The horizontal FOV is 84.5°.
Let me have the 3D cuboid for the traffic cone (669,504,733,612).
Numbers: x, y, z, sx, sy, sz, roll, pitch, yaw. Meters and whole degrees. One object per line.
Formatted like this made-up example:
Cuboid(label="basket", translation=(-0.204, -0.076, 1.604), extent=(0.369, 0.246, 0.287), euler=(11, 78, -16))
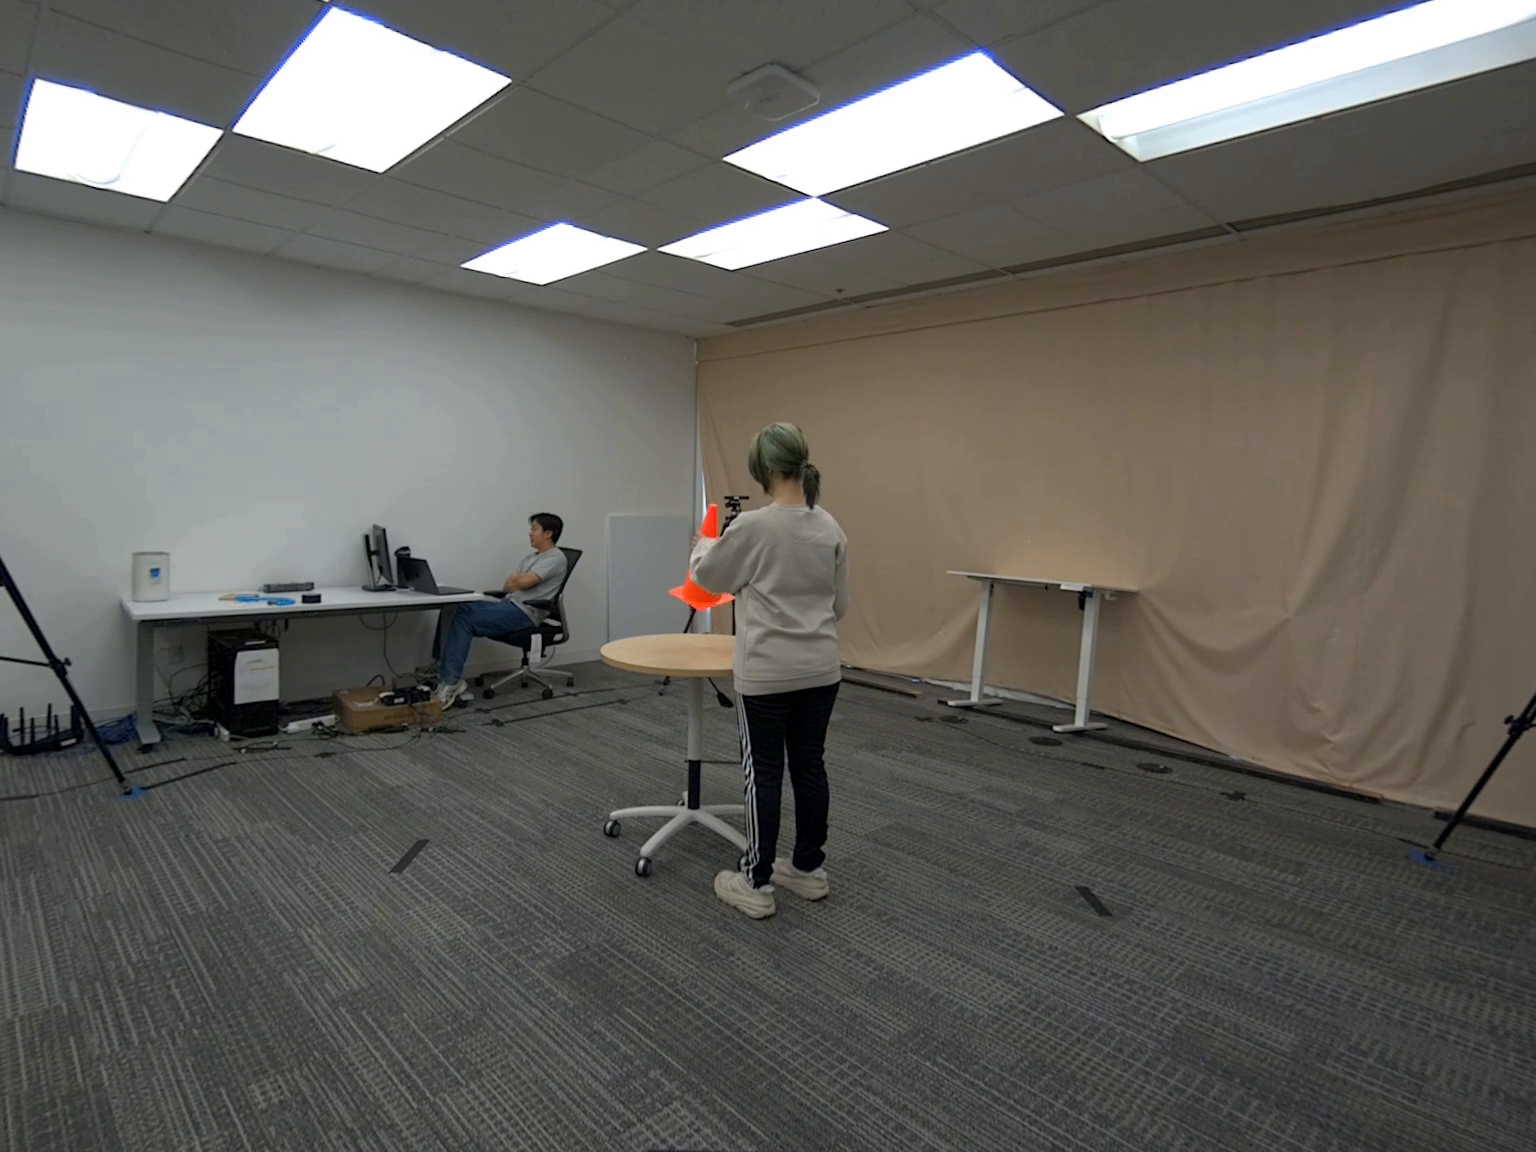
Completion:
Cuboid(label="traffic cone", translation=(-0.242, -0.090, 3.271), extent=(0.209, 0.379, 0.201), euler=(27, 27, 37))
